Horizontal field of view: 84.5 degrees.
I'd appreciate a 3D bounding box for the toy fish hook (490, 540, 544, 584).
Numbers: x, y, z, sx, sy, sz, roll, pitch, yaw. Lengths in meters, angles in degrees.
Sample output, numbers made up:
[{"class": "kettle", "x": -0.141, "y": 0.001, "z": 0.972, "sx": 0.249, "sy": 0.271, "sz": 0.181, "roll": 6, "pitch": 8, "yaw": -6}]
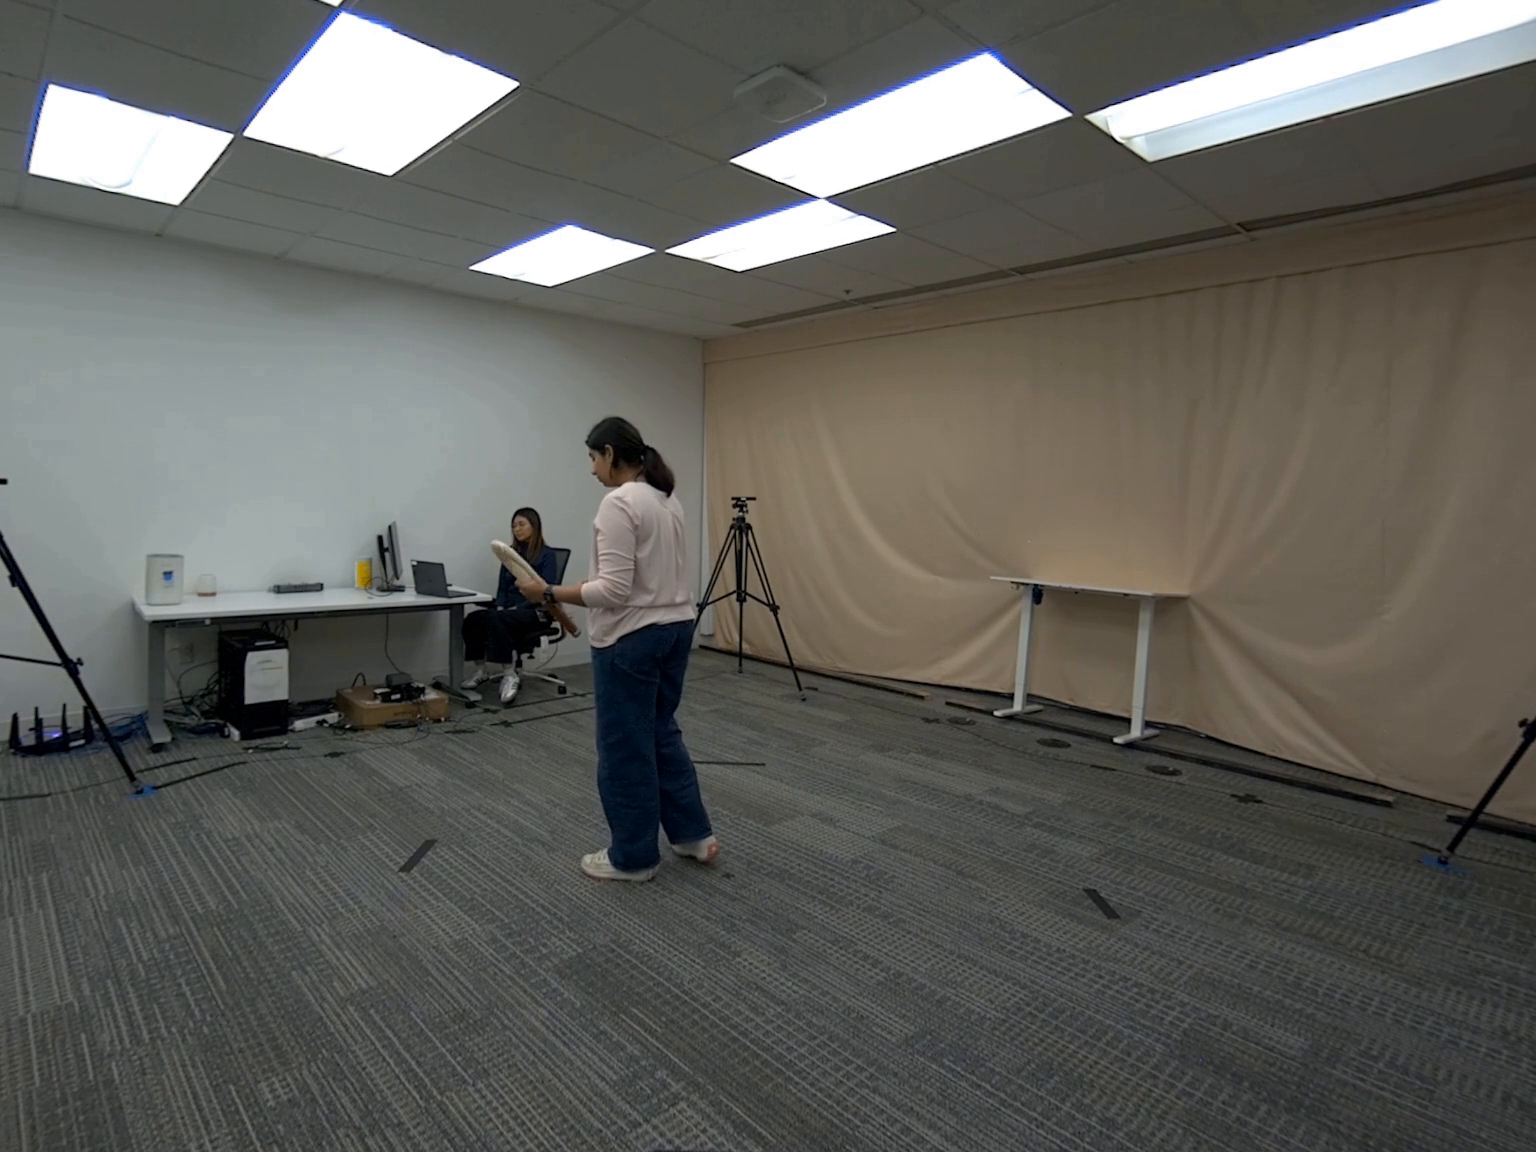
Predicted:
[{"class": "toy fish hook", "x": -0.771, "y": 0.065, "z": 2.898, "sx": 0.048, "sy": 0.492, "sz": 0.231, "roll": -46, "pitch": 35, "yaw": -17}]
